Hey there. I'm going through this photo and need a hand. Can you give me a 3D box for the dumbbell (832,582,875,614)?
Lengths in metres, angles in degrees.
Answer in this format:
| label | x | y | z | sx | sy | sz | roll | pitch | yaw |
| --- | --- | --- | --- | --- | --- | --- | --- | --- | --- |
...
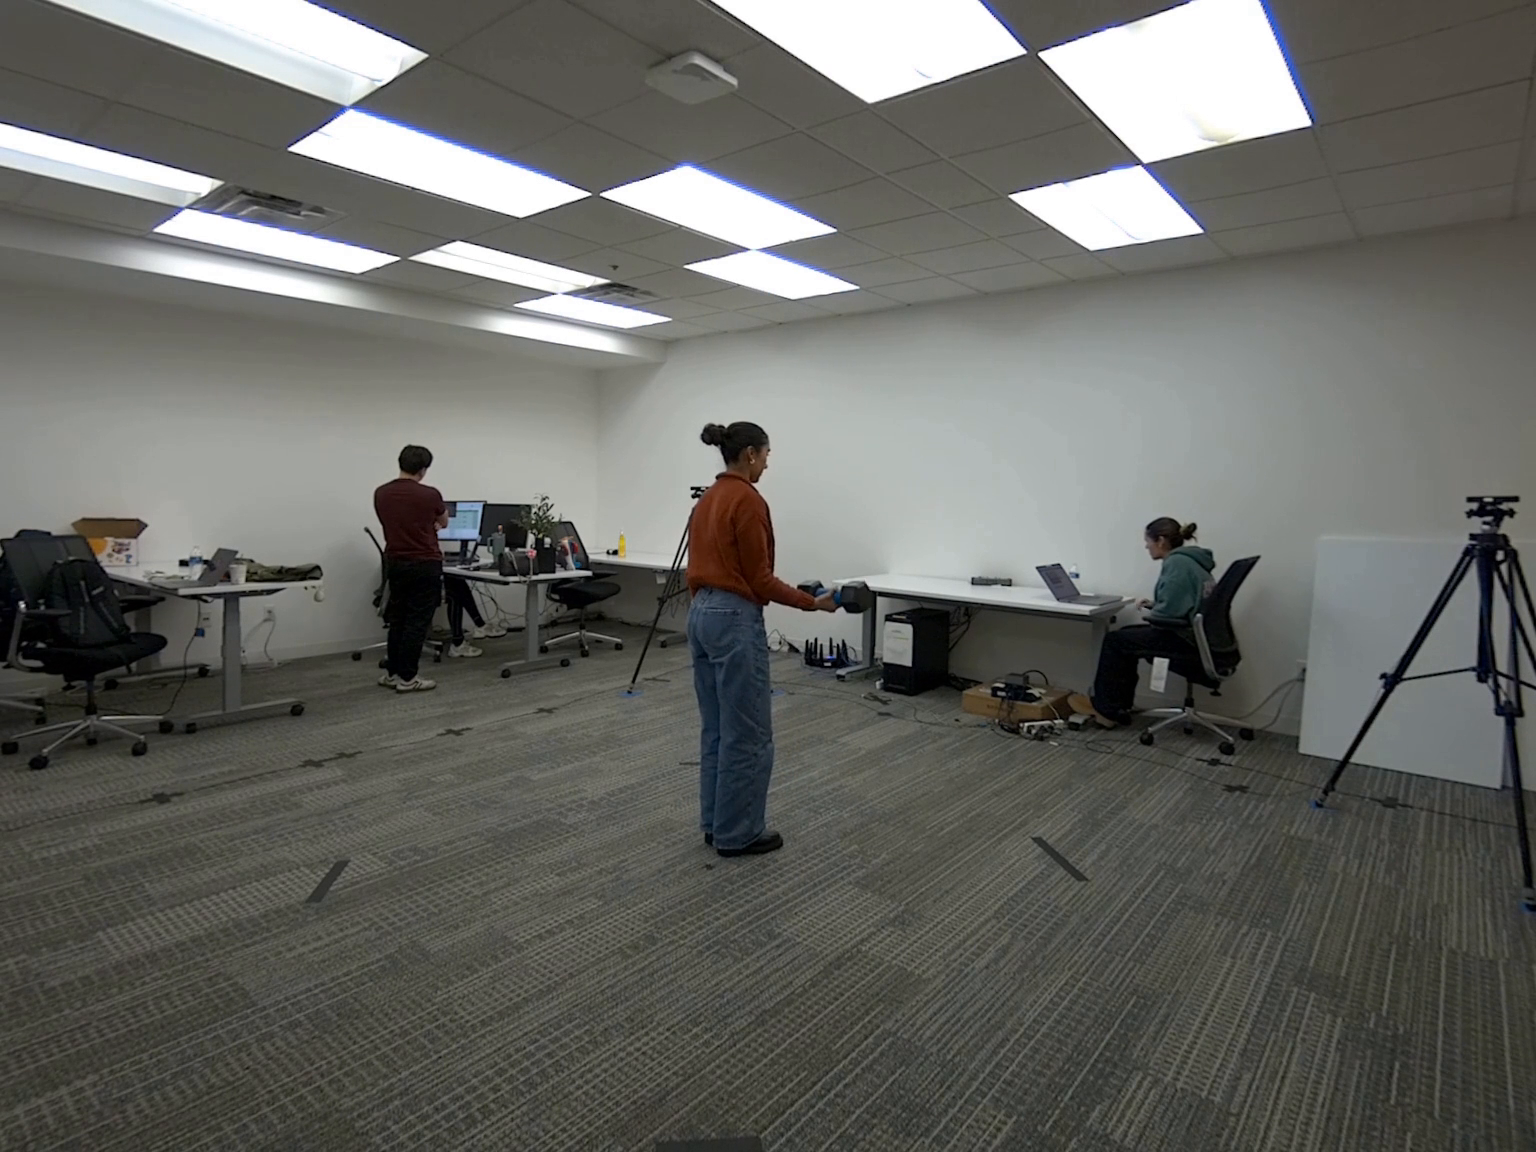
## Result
| label | x | y | z | sx | sy | sz | roll | pitch | yaw |
| --- | --- | --- | --- | --- | --- | --- | --- | --- | --- |
| dumbbell | 0.231 | 0.077 | 3.189 | 0.303 | 0.107 | 0.120 | 0 | 16 | 44 |
